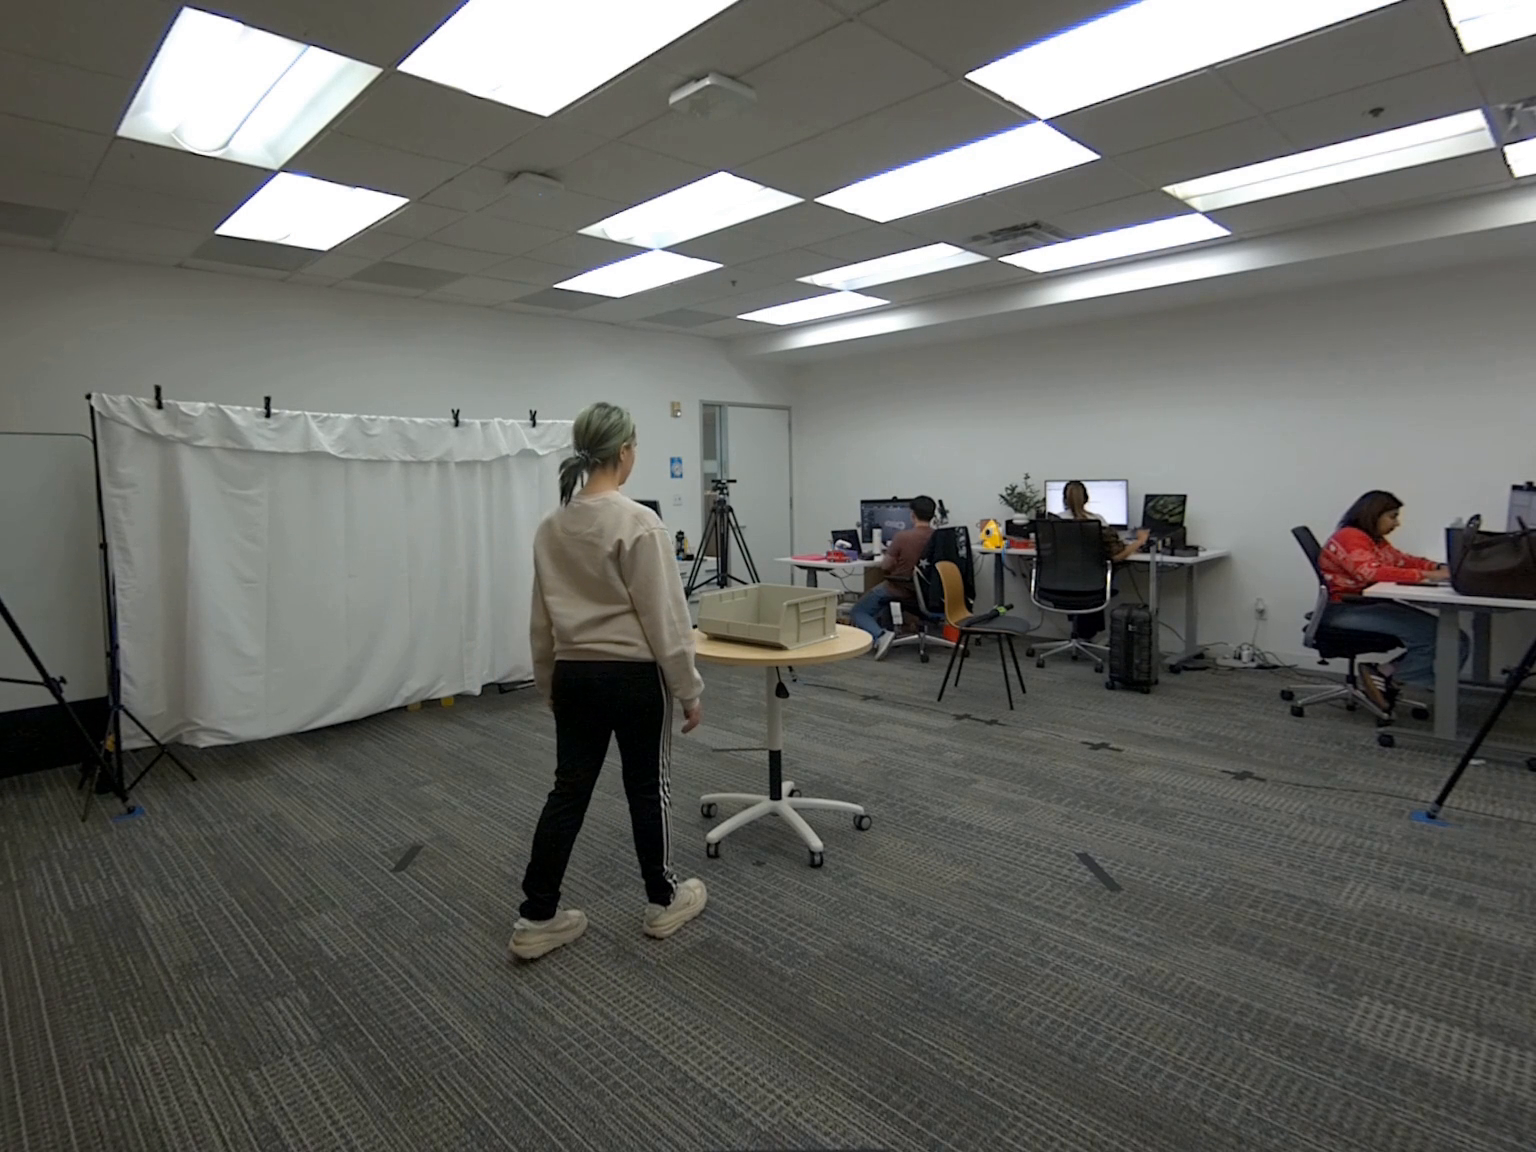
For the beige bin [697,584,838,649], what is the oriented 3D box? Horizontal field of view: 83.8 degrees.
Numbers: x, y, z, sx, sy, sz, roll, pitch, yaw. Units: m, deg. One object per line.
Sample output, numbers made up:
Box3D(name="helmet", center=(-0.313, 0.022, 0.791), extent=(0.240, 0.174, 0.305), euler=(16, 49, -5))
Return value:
Box3D(name="beige bin", center=(0.001, 0.153, 3.301), extent=(0.435, 0.188, 0.367), euler=(4, 7, 41))
